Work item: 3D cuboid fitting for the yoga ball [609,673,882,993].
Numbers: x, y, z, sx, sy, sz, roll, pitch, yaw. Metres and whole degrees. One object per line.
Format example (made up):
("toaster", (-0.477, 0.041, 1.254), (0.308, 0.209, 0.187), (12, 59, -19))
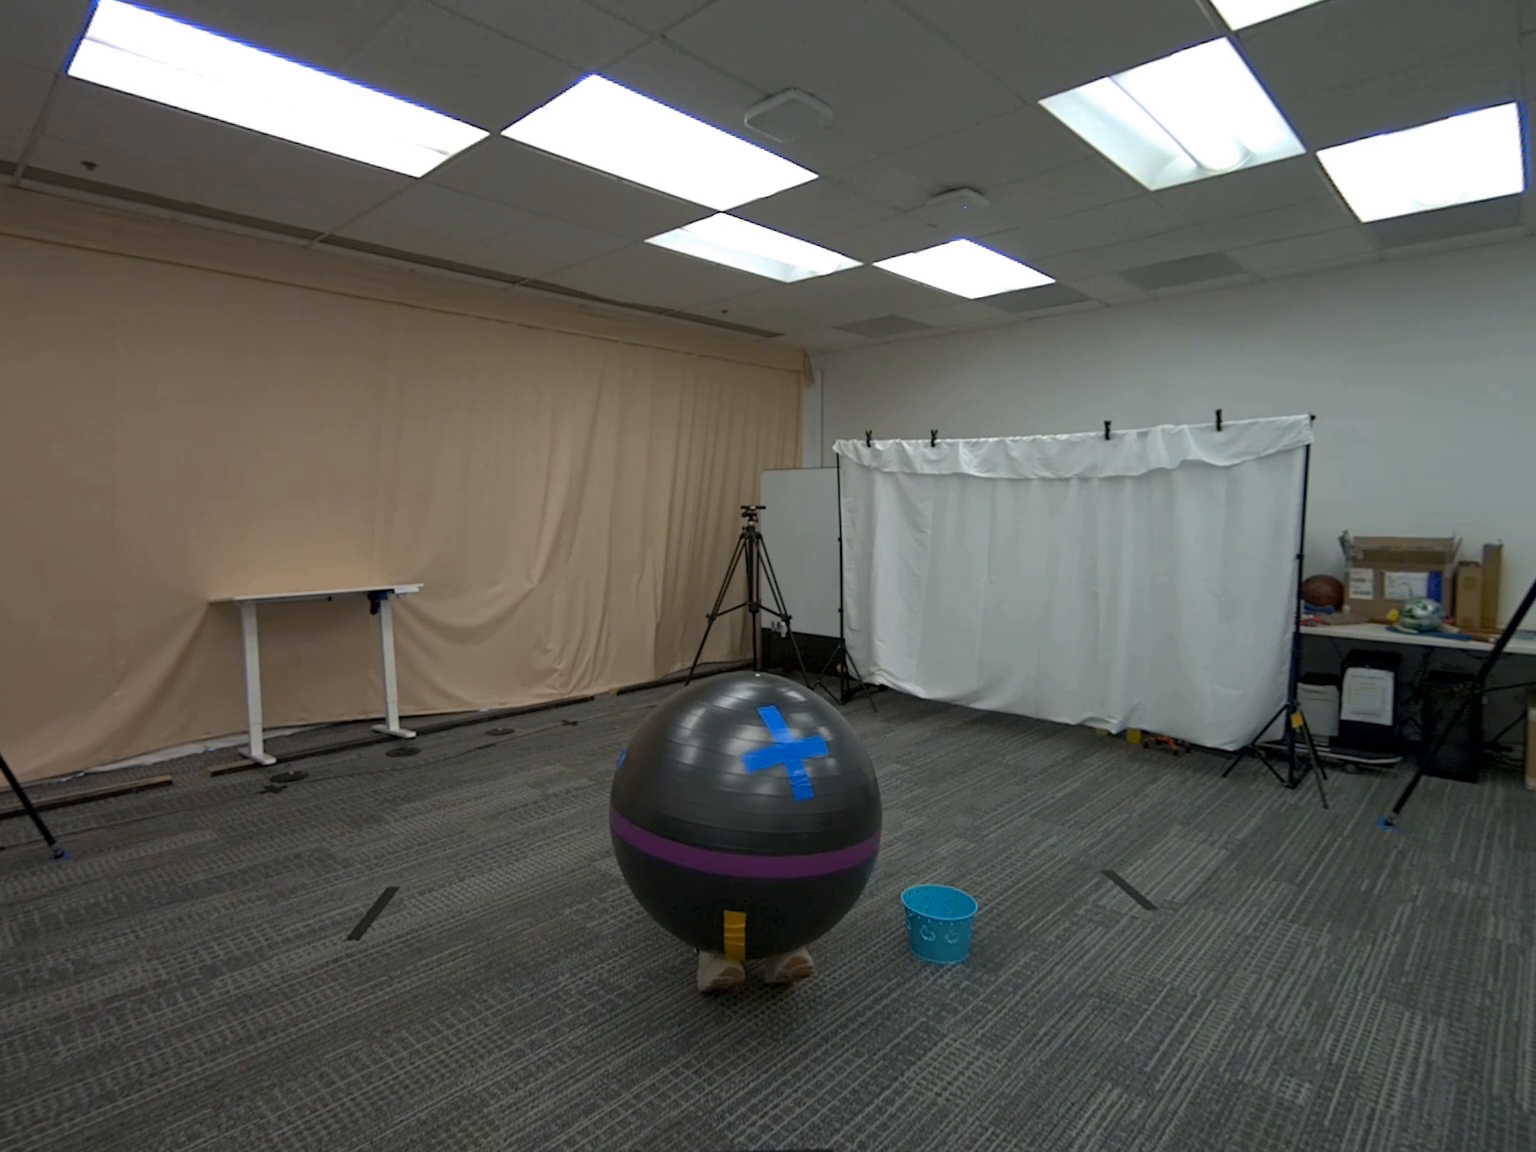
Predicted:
("yoga ball", (-0.055, 0.657, 2.354), (0.757, 0.756, 0.761), (0, 4, -2))
